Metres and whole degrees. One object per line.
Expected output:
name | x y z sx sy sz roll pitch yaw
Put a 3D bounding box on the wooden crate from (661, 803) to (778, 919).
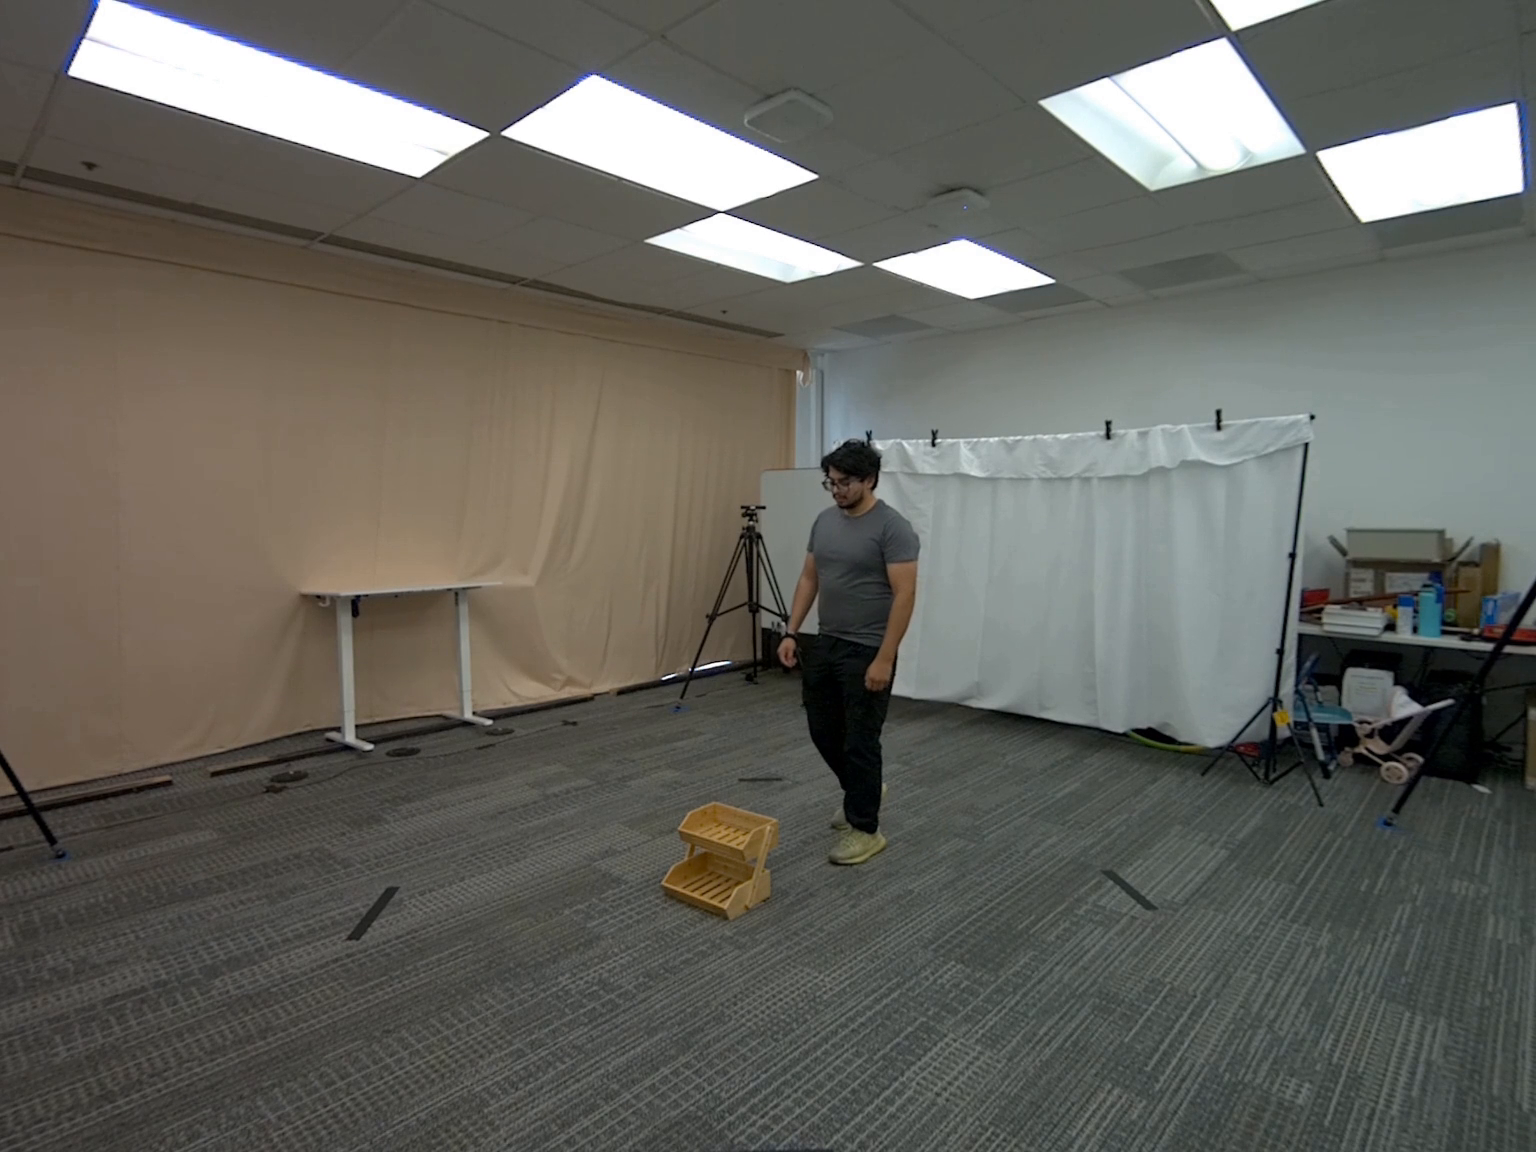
wooden crate | -0.168 1.001 3.020 0.335 0.273 0.293 2 4 38
